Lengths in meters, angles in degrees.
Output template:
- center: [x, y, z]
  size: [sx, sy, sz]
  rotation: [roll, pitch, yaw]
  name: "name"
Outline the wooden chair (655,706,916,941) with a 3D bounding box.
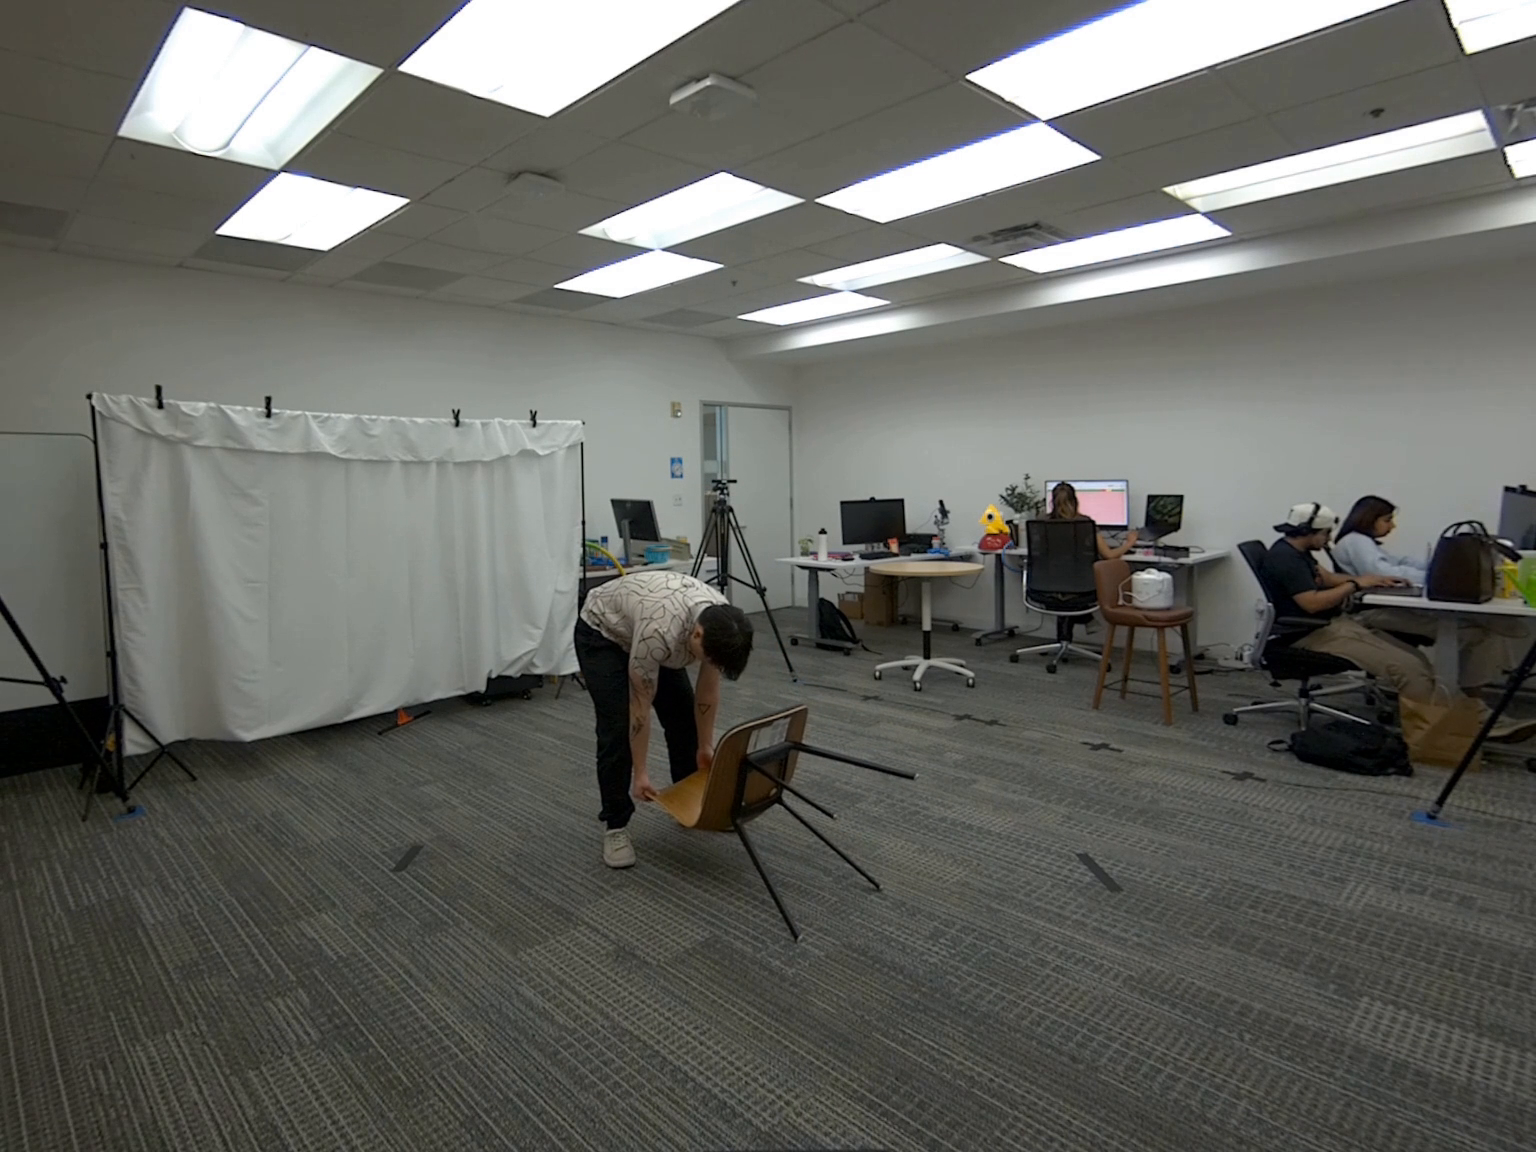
- center: [-0.029, 0.702, 2.957]
  size: [0.466, 0.517, 0.910]
  rotation: [-7, 22, -45]
  name: "wooden chair"
